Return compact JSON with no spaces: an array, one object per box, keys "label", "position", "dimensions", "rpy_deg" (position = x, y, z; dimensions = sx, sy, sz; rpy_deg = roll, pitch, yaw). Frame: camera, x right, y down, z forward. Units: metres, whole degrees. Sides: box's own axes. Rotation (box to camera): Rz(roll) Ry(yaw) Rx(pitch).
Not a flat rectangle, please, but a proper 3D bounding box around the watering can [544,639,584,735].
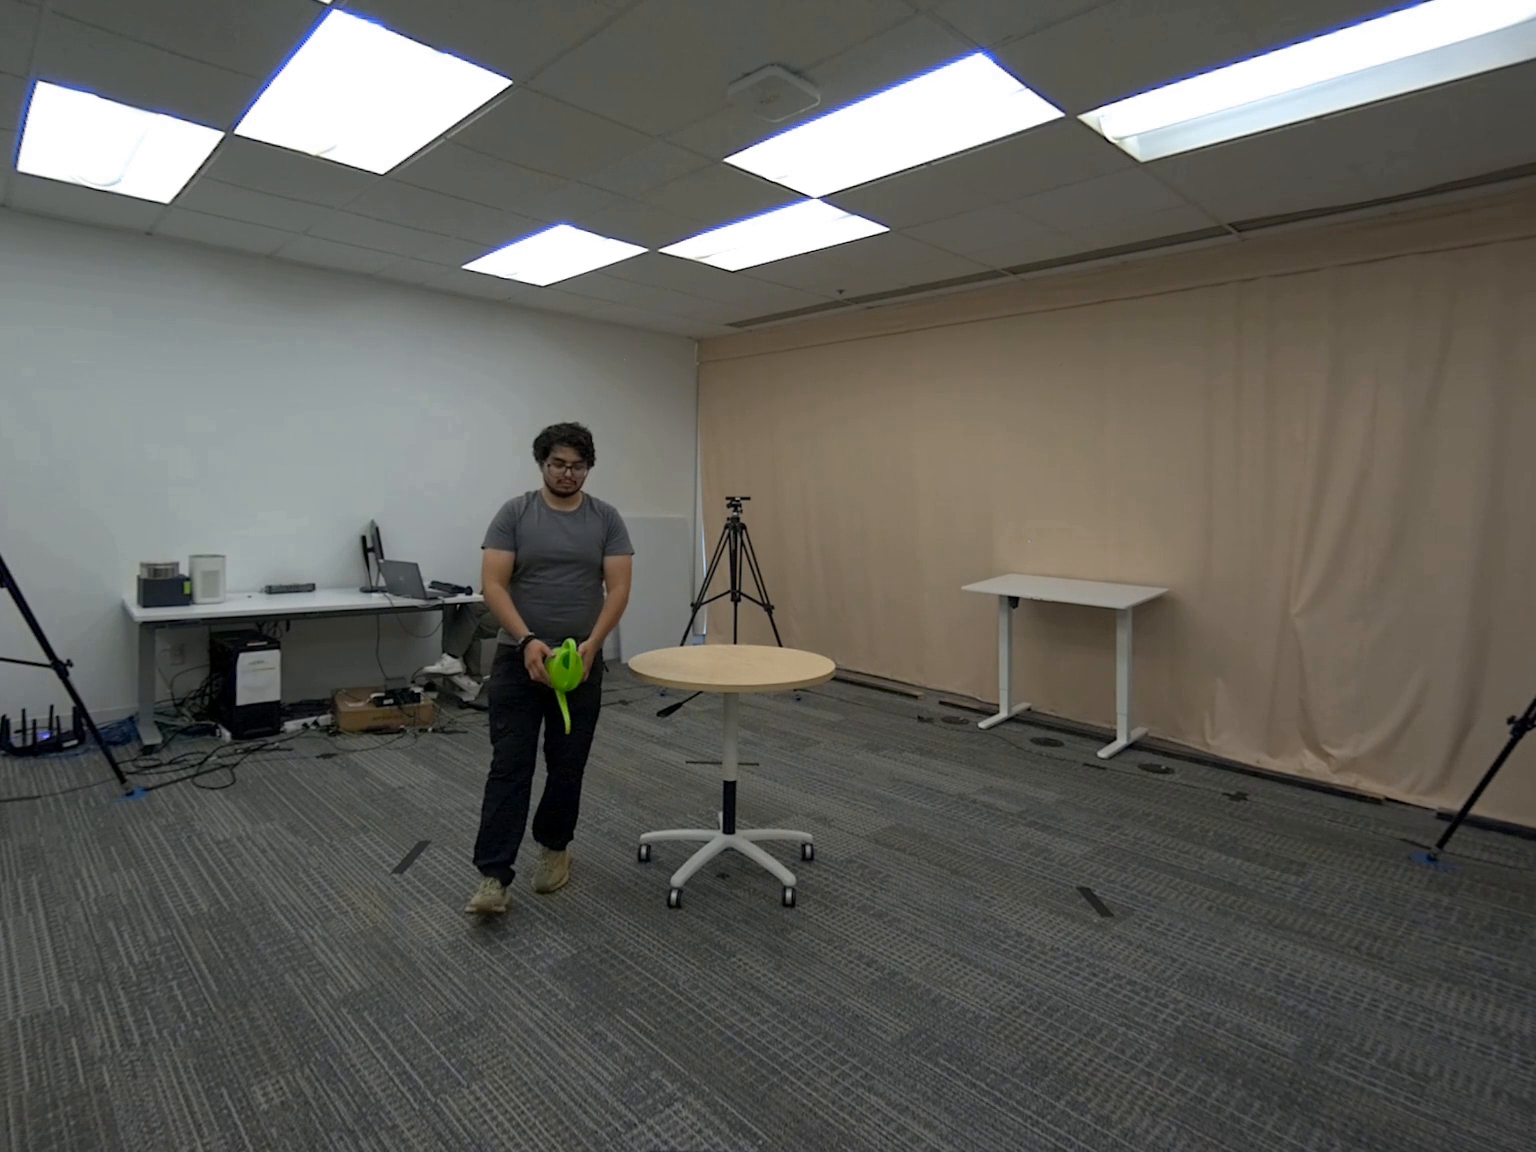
[{"label":"watering can","position":[-0.660,0.336,2.625],"dimensions":[0.096,0.280,0.180],"rpy_deg":[22,-13,-24]}]
